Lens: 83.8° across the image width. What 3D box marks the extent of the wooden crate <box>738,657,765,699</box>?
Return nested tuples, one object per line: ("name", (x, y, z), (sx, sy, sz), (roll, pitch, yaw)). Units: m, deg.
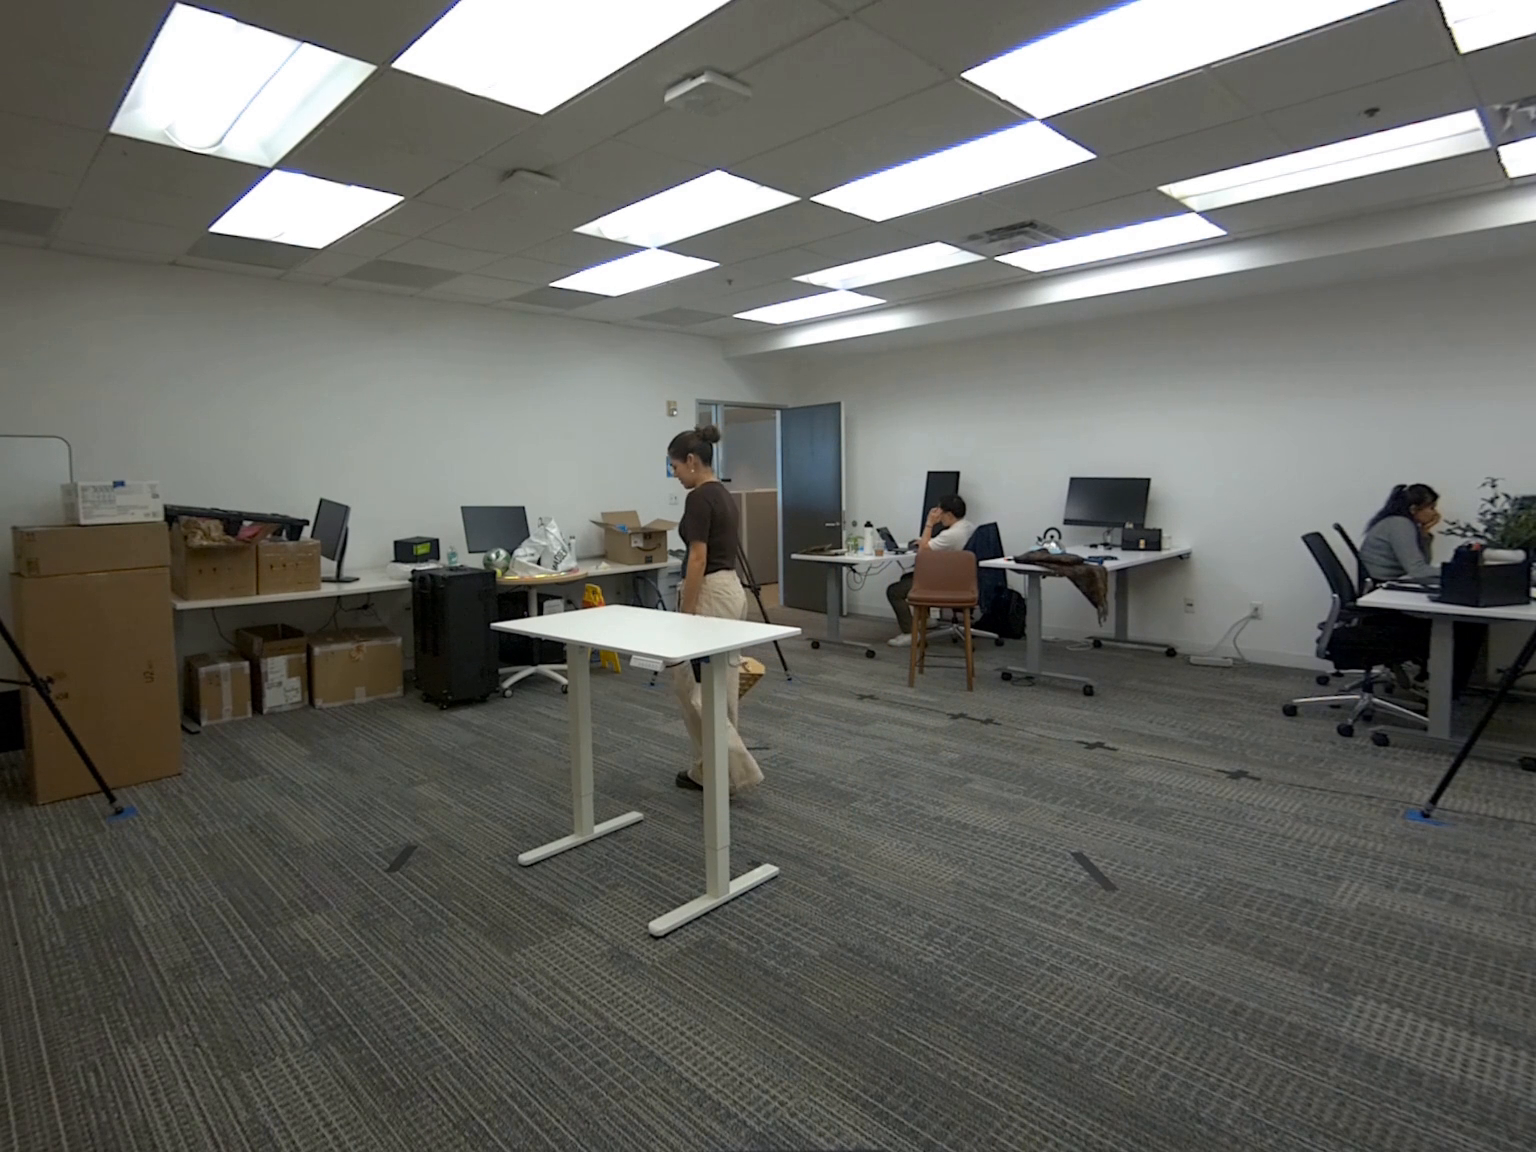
("wooden crate", (-0.240, 0.438, 4.107), (0.292, 0.283, 0.324), (8, -45, -42))
